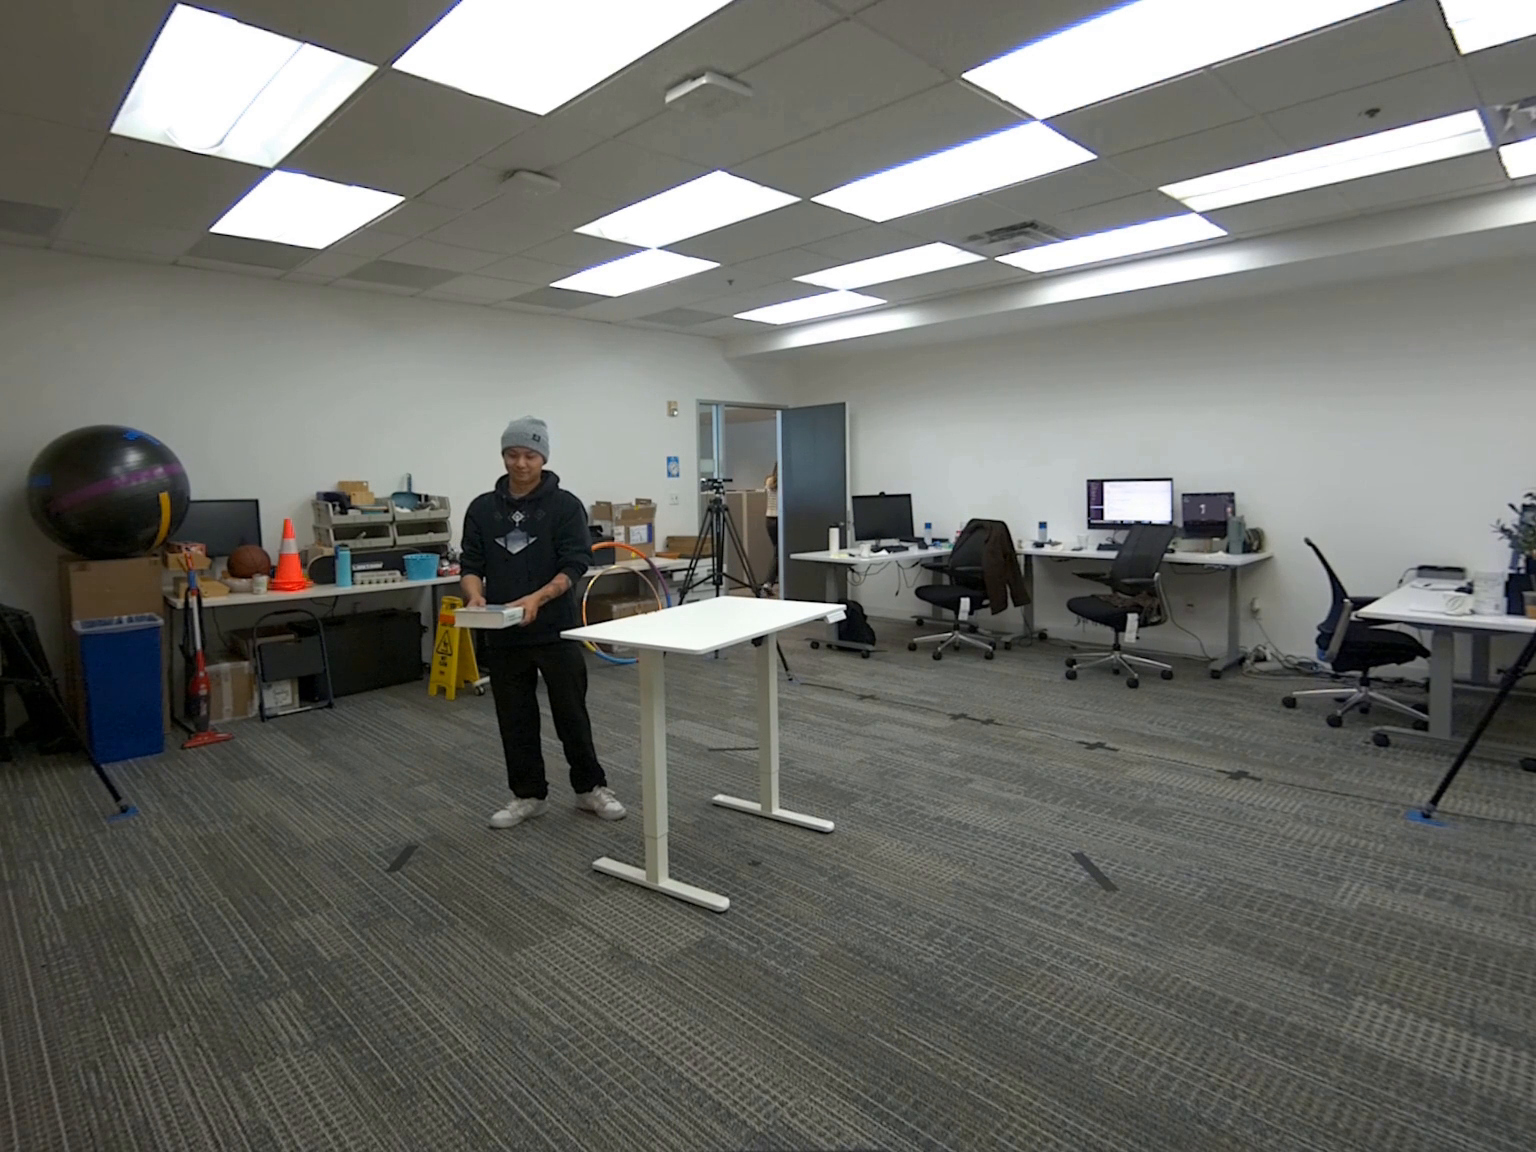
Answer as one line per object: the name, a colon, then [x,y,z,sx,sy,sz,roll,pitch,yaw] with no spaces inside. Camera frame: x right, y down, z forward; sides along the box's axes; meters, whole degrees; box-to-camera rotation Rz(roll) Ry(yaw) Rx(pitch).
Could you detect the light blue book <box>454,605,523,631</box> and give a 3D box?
light blue book: [-1.012,0.148,3.151,0.192,0.059,0.260,1,3,5]
